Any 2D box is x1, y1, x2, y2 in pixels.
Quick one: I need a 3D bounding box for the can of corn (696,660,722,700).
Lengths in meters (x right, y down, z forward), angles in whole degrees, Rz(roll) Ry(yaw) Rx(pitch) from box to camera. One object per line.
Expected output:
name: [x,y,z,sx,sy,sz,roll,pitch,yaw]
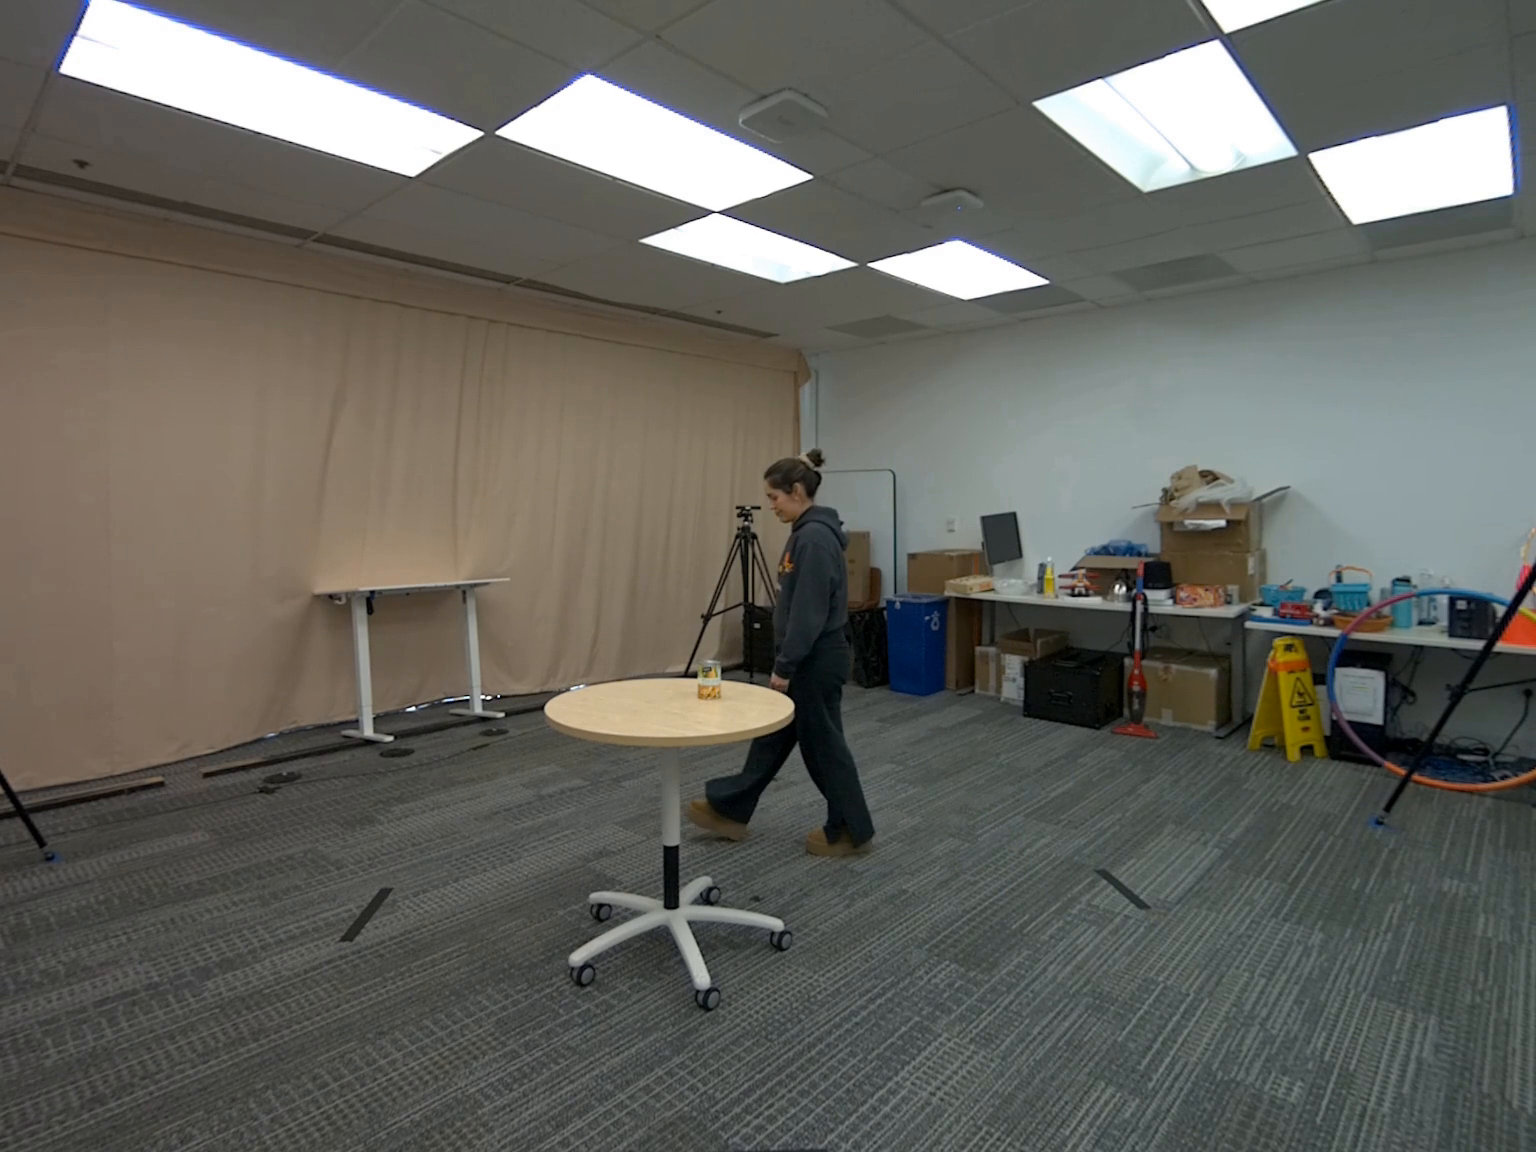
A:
can of corn: [-0.175,0.333,2.681,0.074,0.111,0.074,-1,1,-2]
